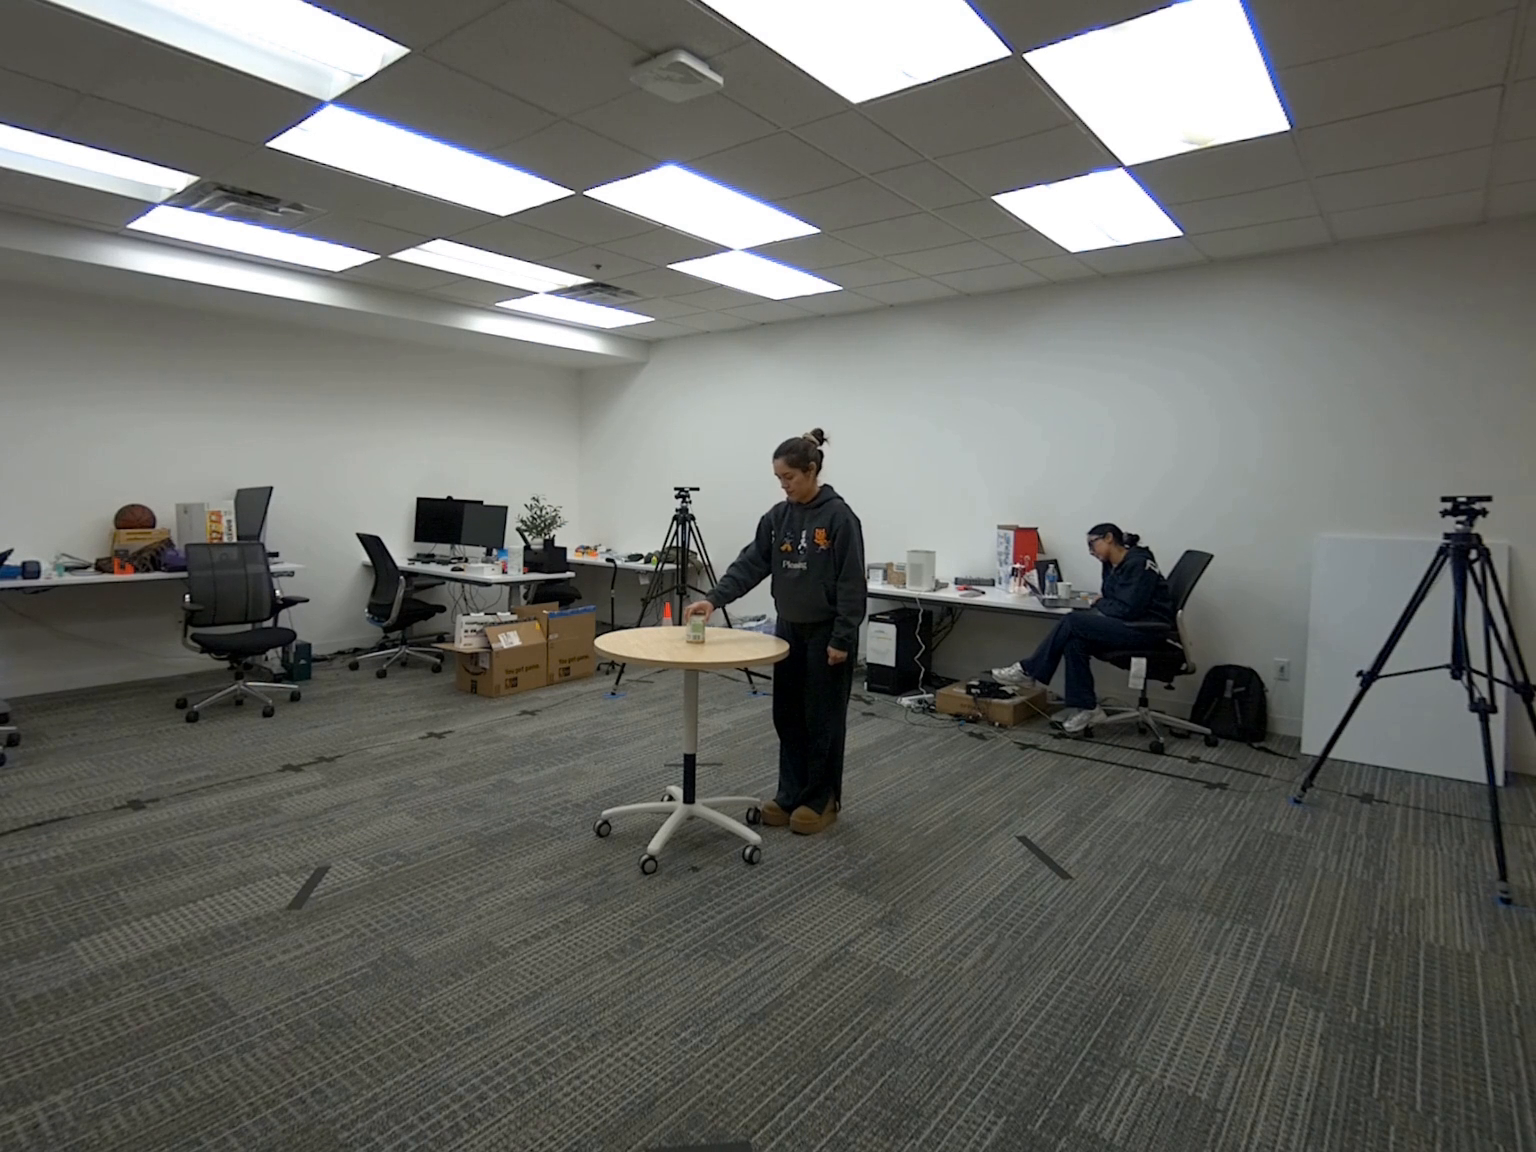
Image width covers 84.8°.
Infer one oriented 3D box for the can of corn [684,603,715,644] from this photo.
[{"bbox_3d":[-0.288,0.202,3.368,0.074,0.111,0.074,4,-2,-2],"label":"can of corn"}]
